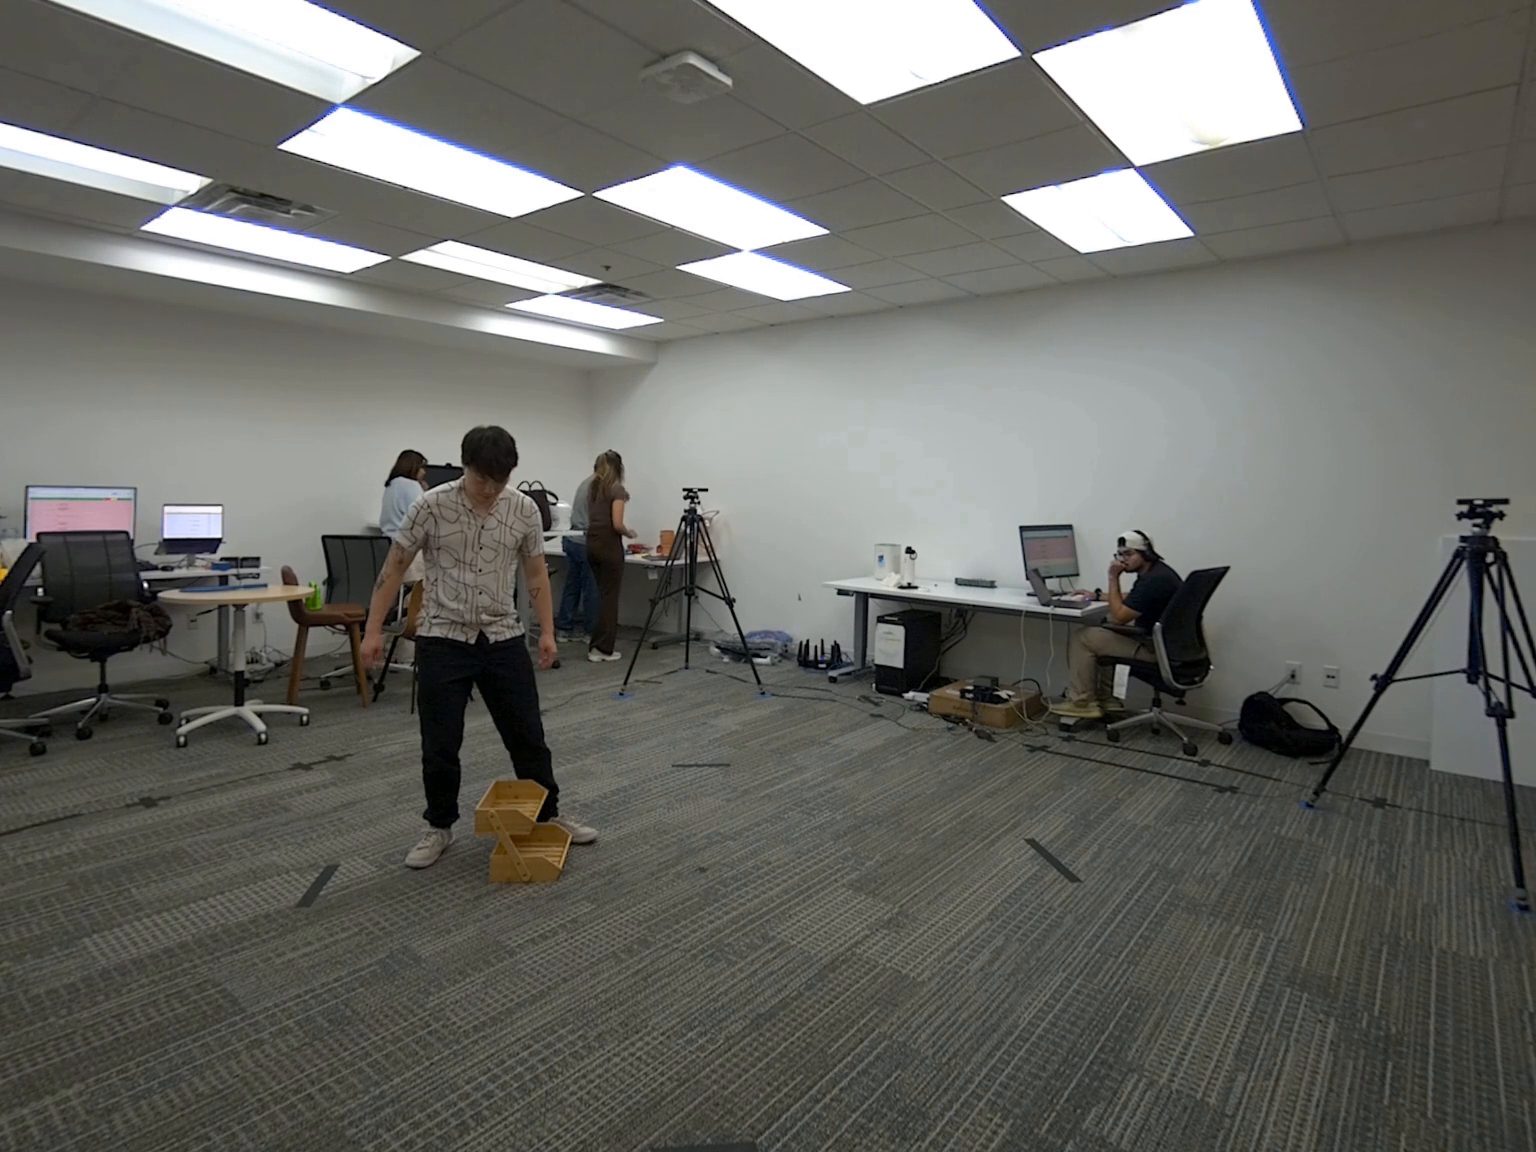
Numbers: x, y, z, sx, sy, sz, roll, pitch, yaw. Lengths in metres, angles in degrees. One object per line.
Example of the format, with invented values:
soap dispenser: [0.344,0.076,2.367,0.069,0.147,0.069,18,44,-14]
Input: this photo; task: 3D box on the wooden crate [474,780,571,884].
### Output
wooden crate: [-0.898,0.921,3.119,0.301,0.272,0.327,0,4,-4]
